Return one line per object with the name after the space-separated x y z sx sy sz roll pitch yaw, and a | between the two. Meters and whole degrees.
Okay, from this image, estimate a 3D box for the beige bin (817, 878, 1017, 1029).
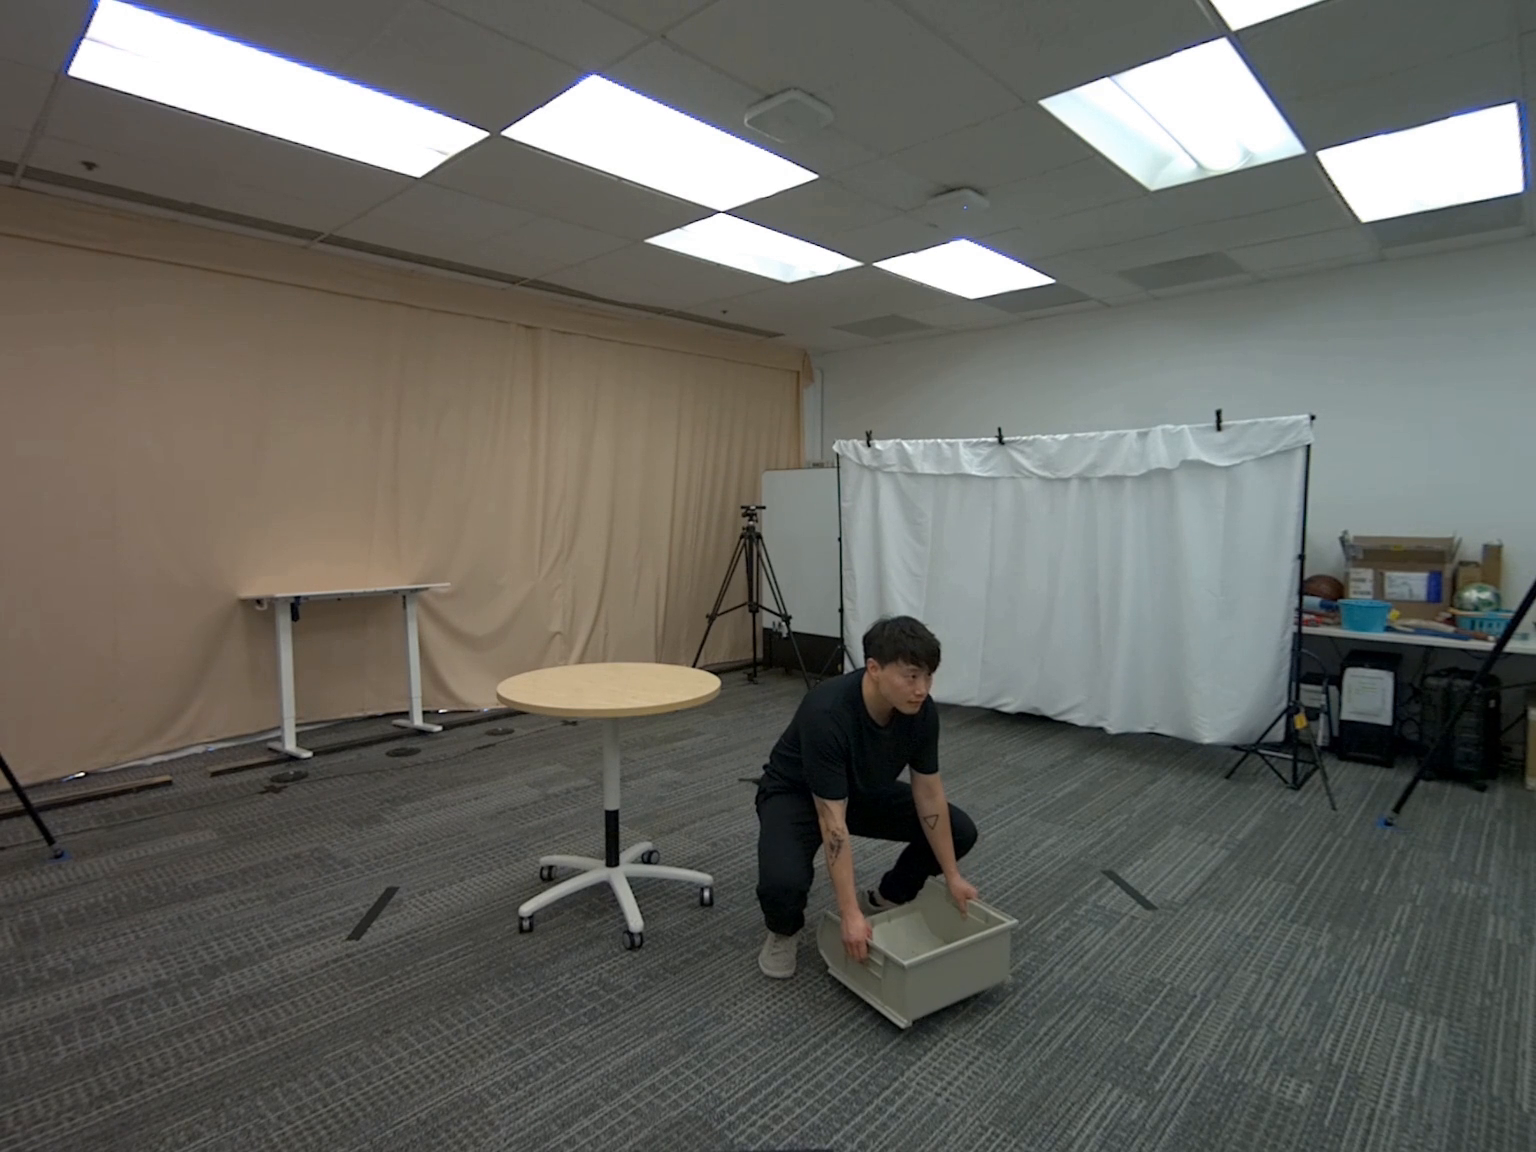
0.422 1.053 2.394 0.411 0.188 0.389 -3 6 -31 | beige bin
